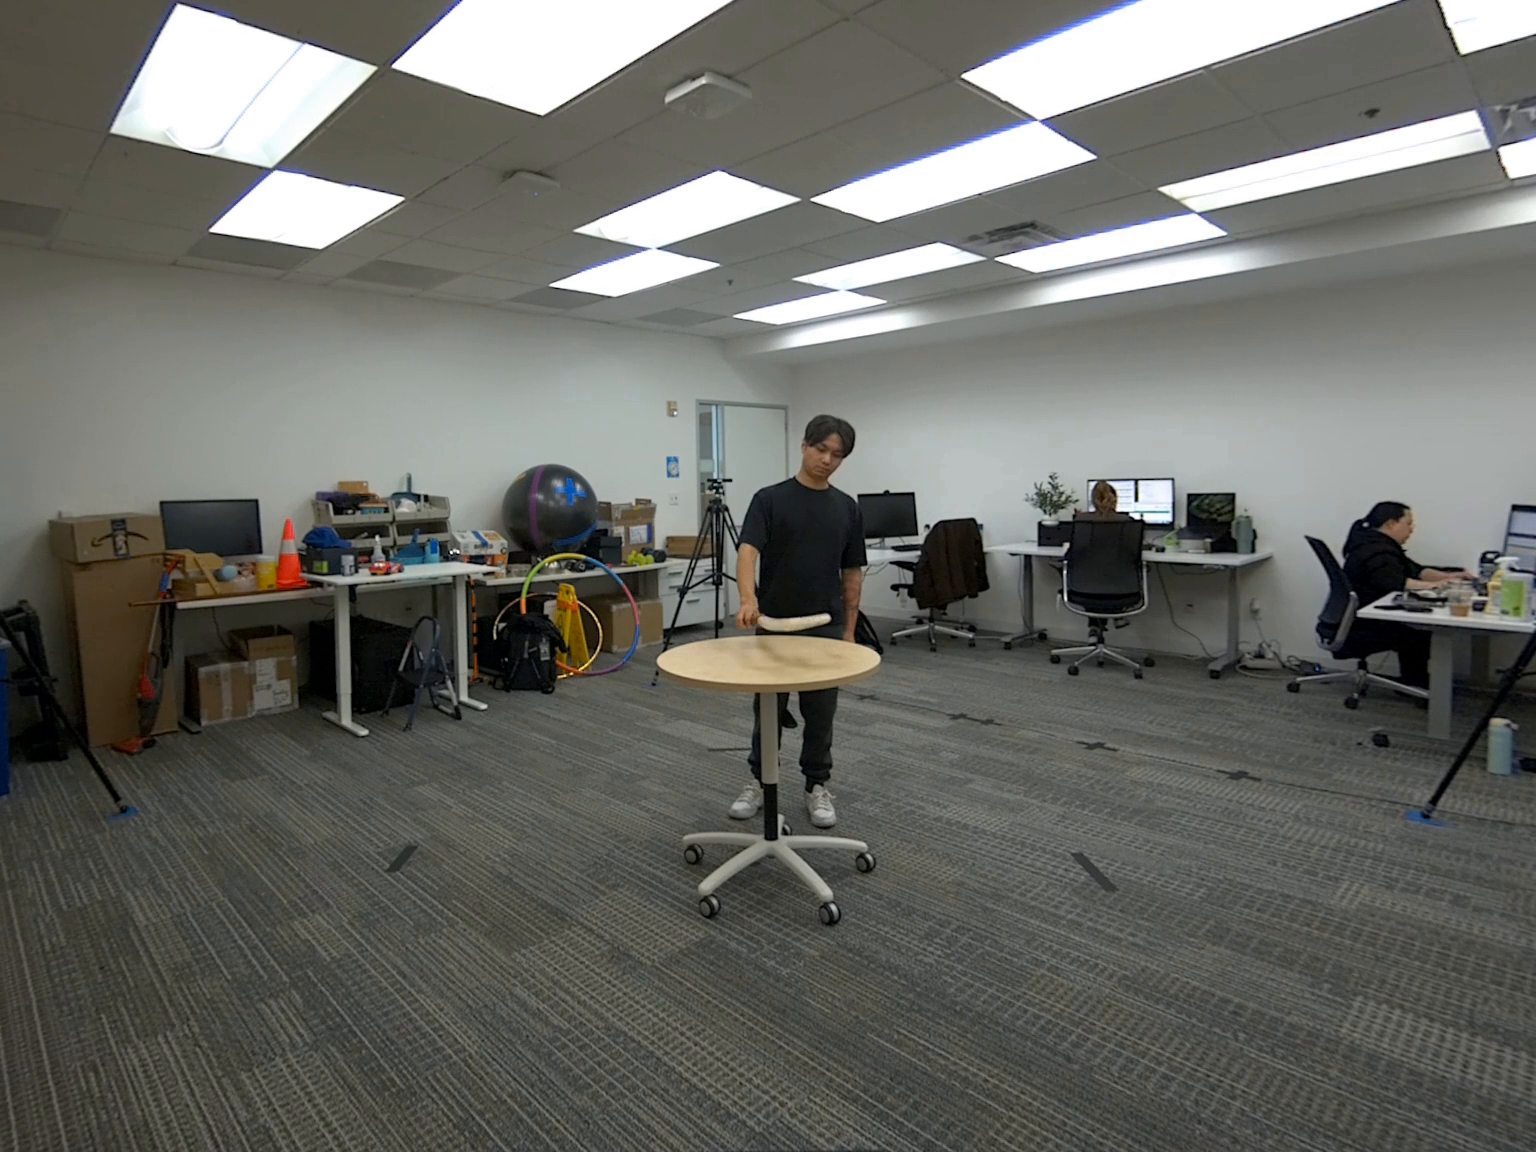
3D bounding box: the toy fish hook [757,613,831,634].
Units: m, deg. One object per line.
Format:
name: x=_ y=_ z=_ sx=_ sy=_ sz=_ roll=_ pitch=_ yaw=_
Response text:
toy fish hook: x=0.031 y=0.165 z=2.984 sx=0.220 sy=0.048 sz=0.516 roll=-5 pitch=0 yaw=-25
